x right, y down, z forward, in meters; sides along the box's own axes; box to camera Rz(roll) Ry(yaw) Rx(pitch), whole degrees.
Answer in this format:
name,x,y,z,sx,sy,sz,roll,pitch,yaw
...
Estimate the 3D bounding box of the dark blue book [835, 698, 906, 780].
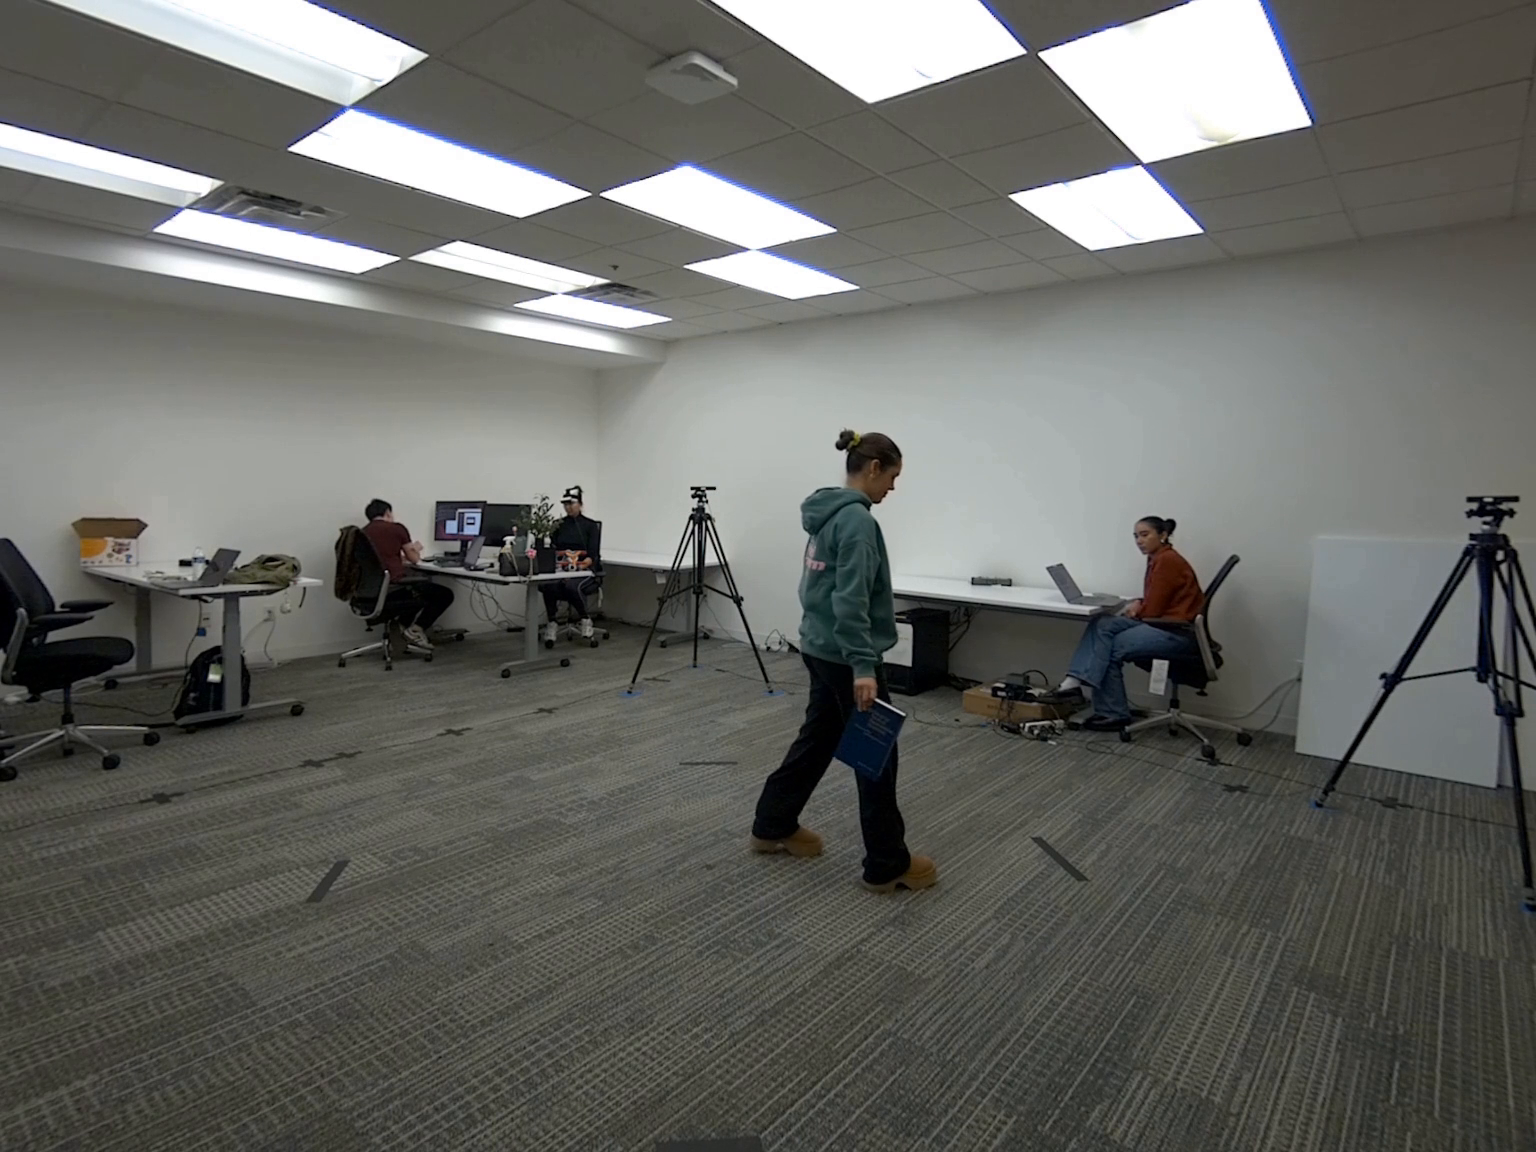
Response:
name,x,y,z,sx,sy,sz,roll,pitch,yaw
dark blue book,0.333,0.516,2.810,0.168,0.243,0.044,25,11,23
